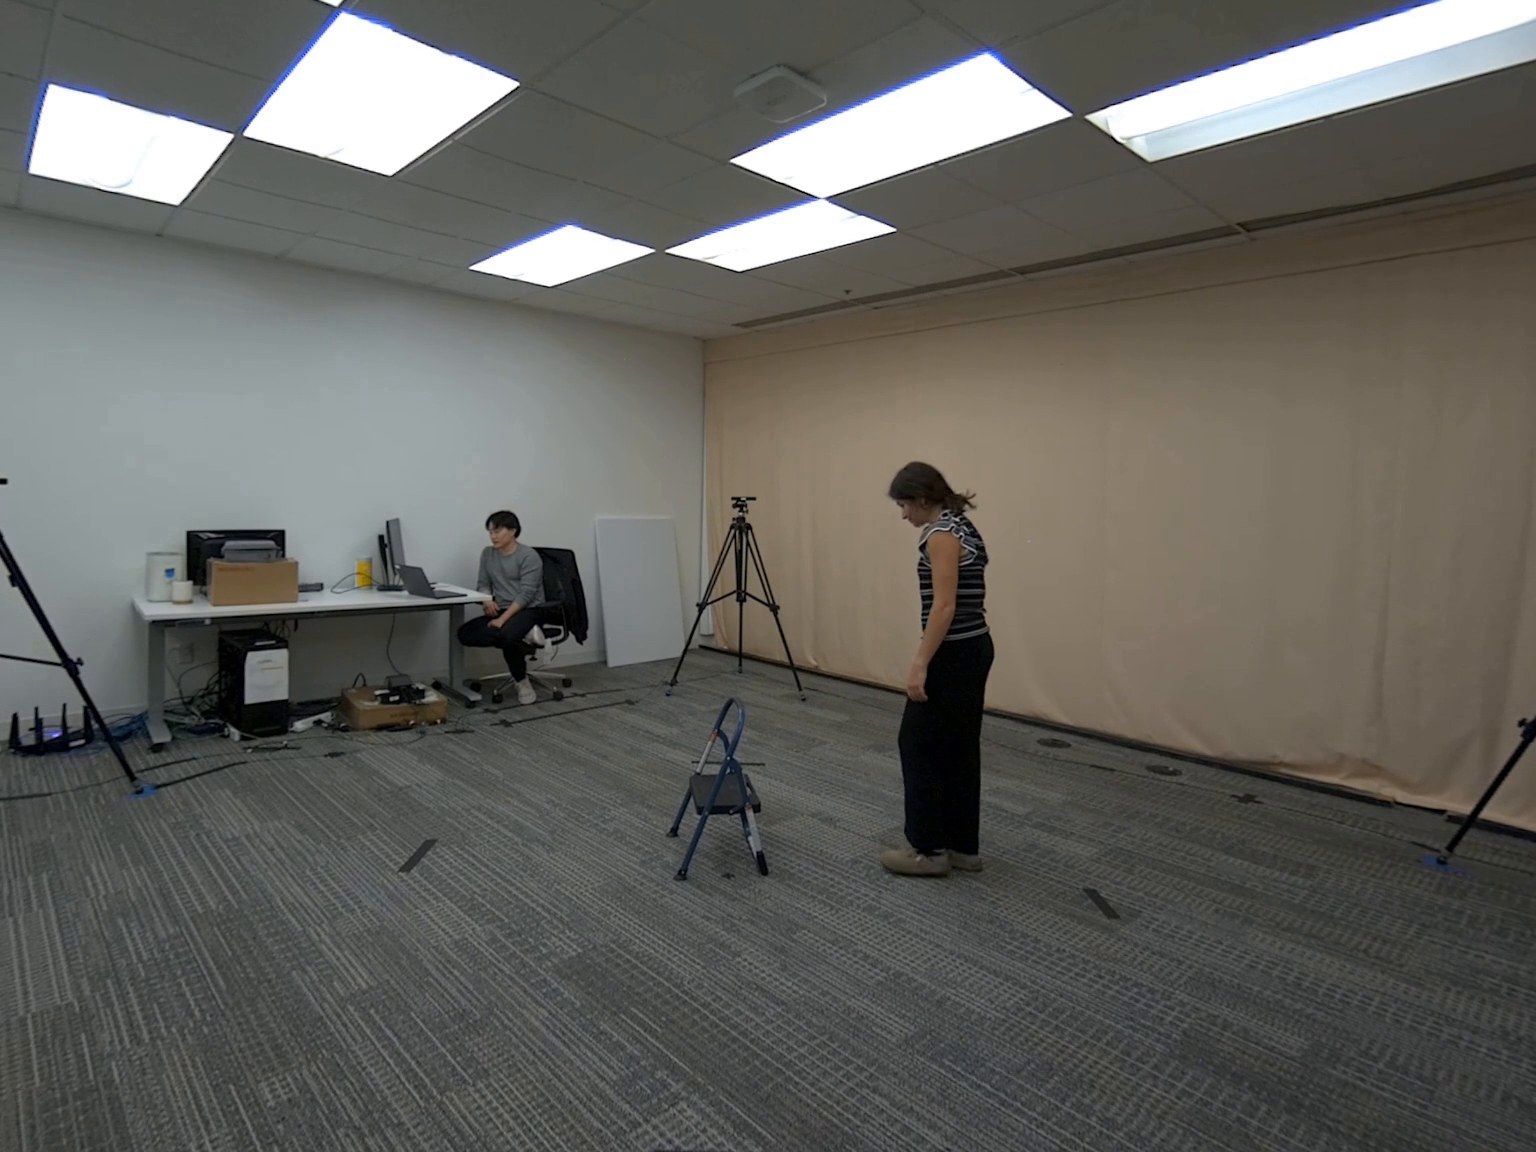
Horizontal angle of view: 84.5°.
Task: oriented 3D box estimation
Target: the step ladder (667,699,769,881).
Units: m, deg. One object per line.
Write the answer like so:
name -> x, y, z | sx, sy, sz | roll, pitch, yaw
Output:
step ladder -> -0.198, 0.789, 3.272 | 0.346, 0.605, 0.435 | 1, 4, -10
